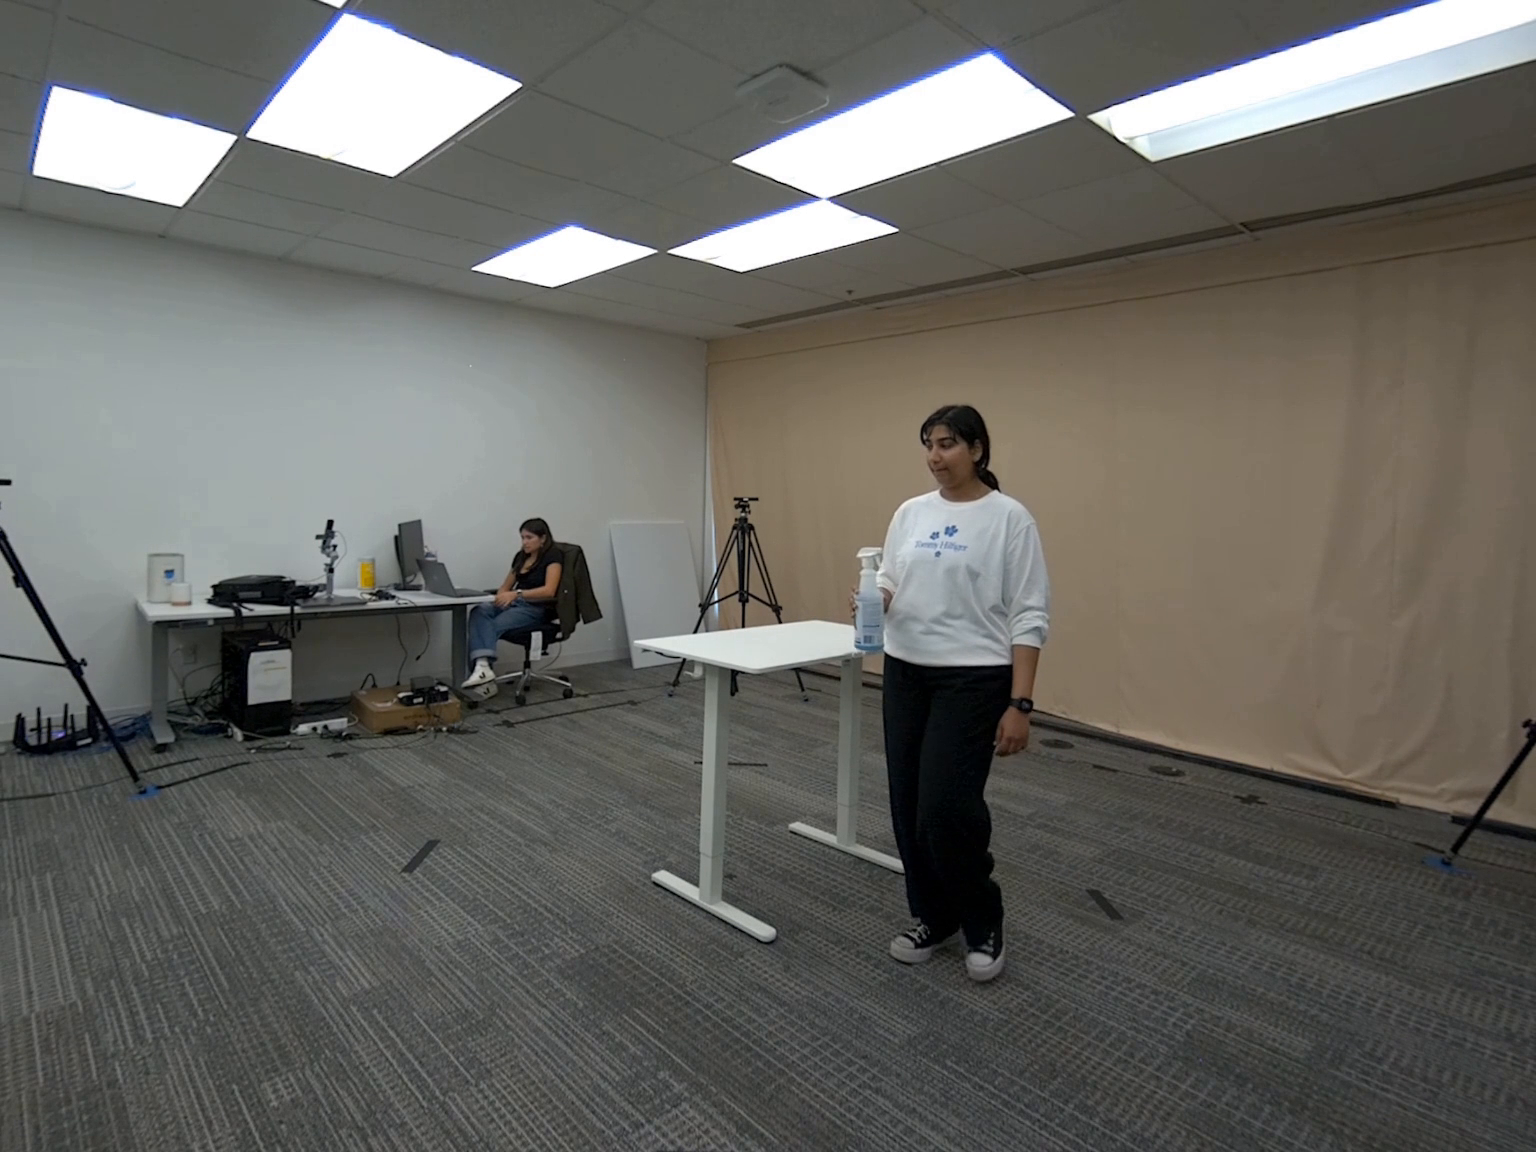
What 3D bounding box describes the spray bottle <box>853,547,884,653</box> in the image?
[{"bbox_3d":[0.295,0.067,2.443,0.086,0.296,0.091,-3,5,-15],"label":"spray bottle"}]
